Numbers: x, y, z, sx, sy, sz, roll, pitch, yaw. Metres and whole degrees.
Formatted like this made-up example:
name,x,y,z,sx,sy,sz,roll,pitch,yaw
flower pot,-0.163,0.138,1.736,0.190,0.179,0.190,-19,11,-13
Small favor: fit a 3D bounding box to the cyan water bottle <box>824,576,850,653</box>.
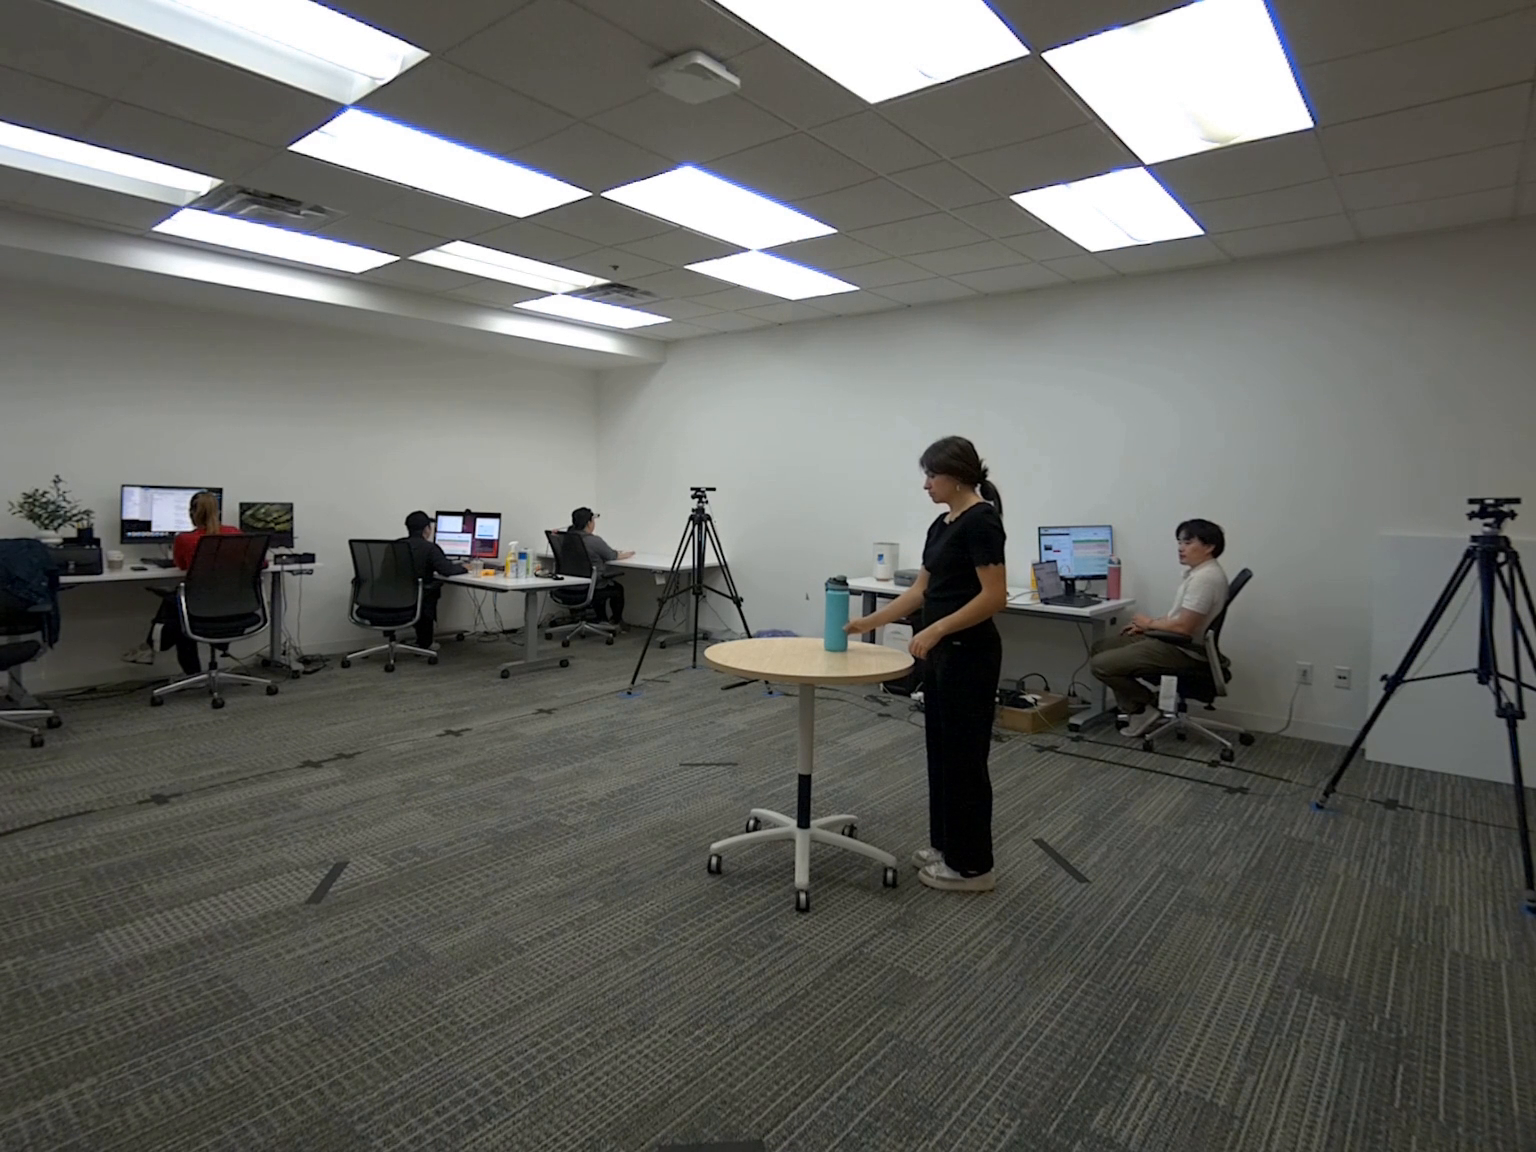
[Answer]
name,x,y,z,sx,sy,sz,roll,pitch,yaw
cyan water bottle,0.257,0.132,3.244,0.092,0.283,0.093,0,3,-2
